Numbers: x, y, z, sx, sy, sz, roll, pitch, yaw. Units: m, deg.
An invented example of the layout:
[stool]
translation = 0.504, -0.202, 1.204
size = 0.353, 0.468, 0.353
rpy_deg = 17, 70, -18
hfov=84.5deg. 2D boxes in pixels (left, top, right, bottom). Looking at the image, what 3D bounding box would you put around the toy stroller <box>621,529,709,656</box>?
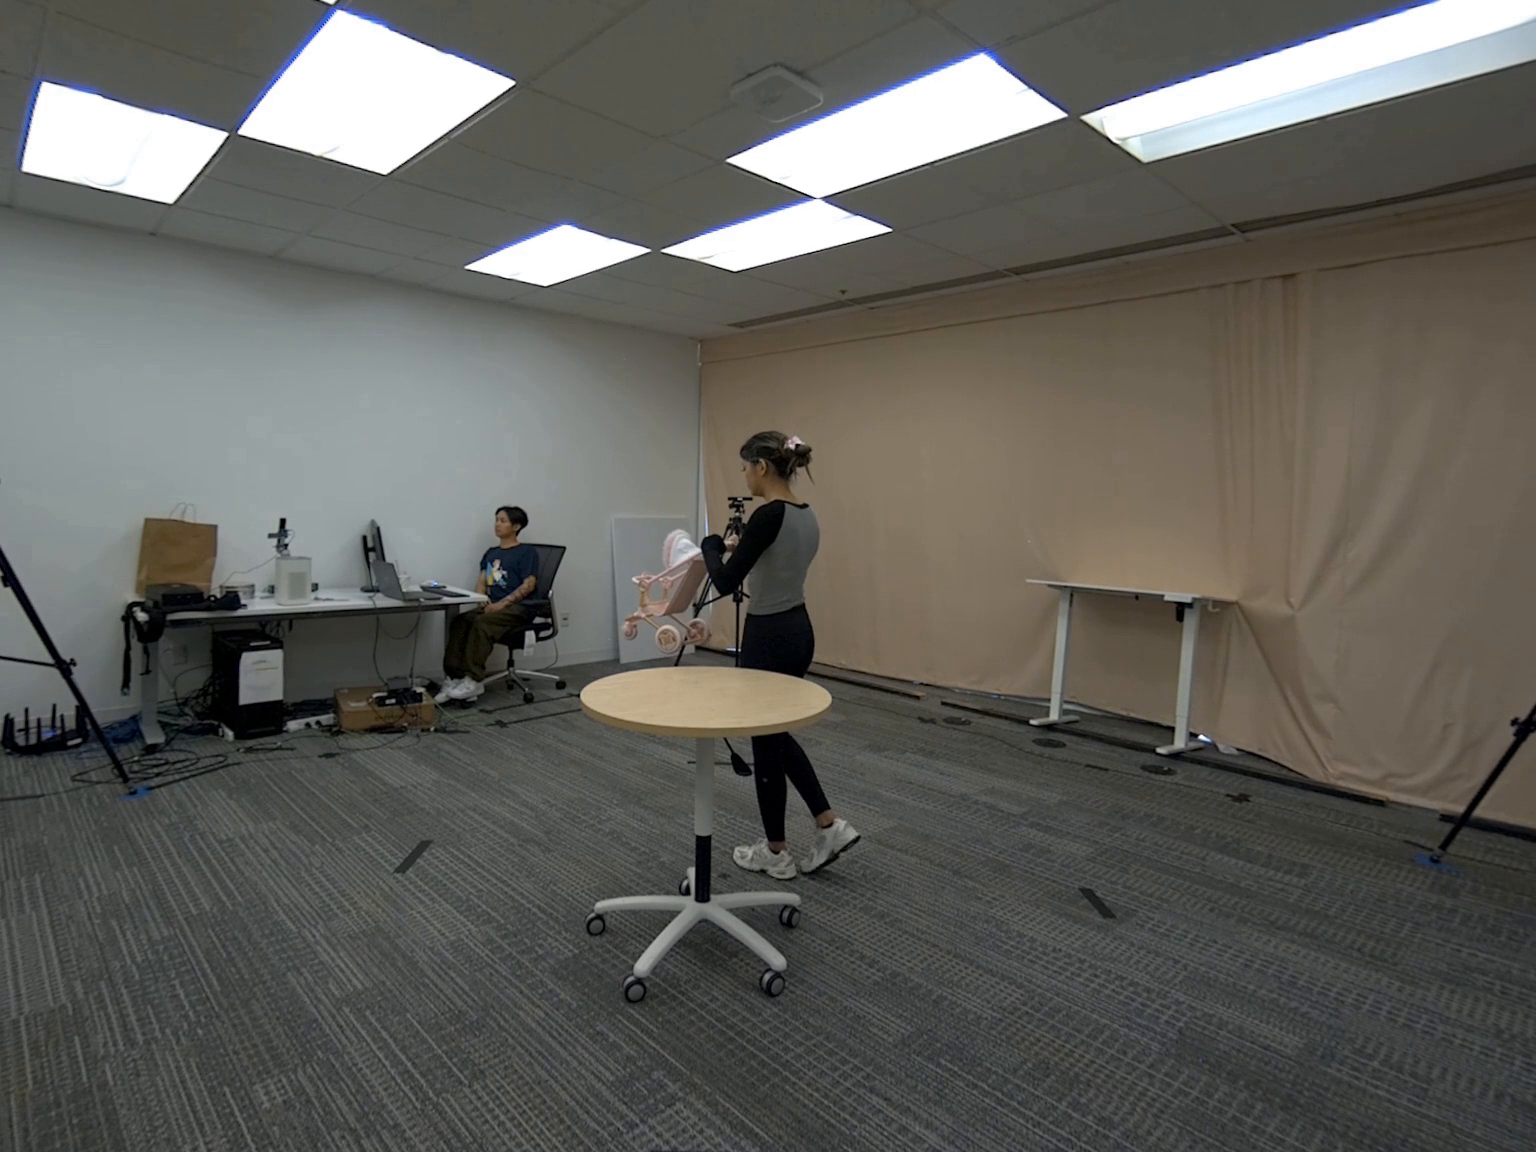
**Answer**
[toy stroller]
translation = -0.383, 0.057, 3.331
size = 0.350, 0.532, 0.276
rpy_deg = 21, 10, 27
